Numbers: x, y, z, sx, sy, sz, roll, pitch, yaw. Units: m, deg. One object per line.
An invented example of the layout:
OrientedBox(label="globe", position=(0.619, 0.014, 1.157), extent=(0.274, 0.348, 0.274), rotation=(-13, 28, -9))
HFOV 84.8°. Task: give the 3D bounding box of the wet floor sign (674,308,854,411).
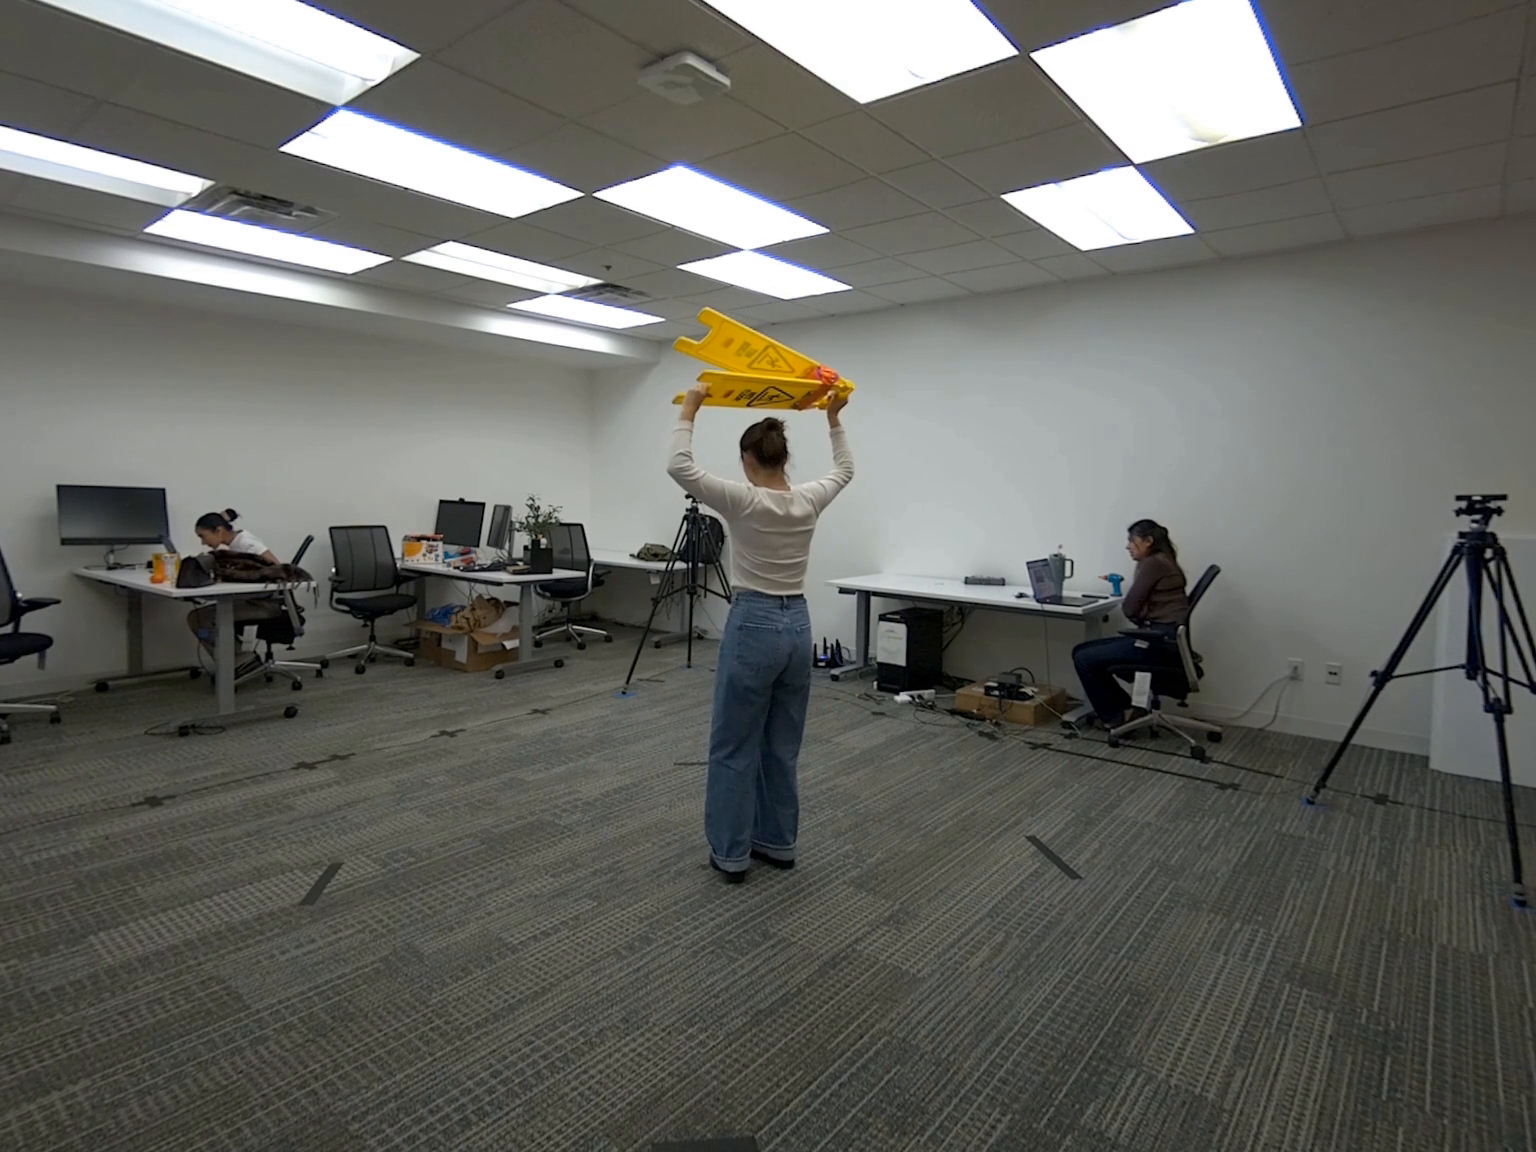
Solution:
OrientedBox(label="wet floor sign", position=(-0.005, -0.726, 3.111), extent=(0.628, 0.295, 0.285), rotation=(8, -19, -27))
